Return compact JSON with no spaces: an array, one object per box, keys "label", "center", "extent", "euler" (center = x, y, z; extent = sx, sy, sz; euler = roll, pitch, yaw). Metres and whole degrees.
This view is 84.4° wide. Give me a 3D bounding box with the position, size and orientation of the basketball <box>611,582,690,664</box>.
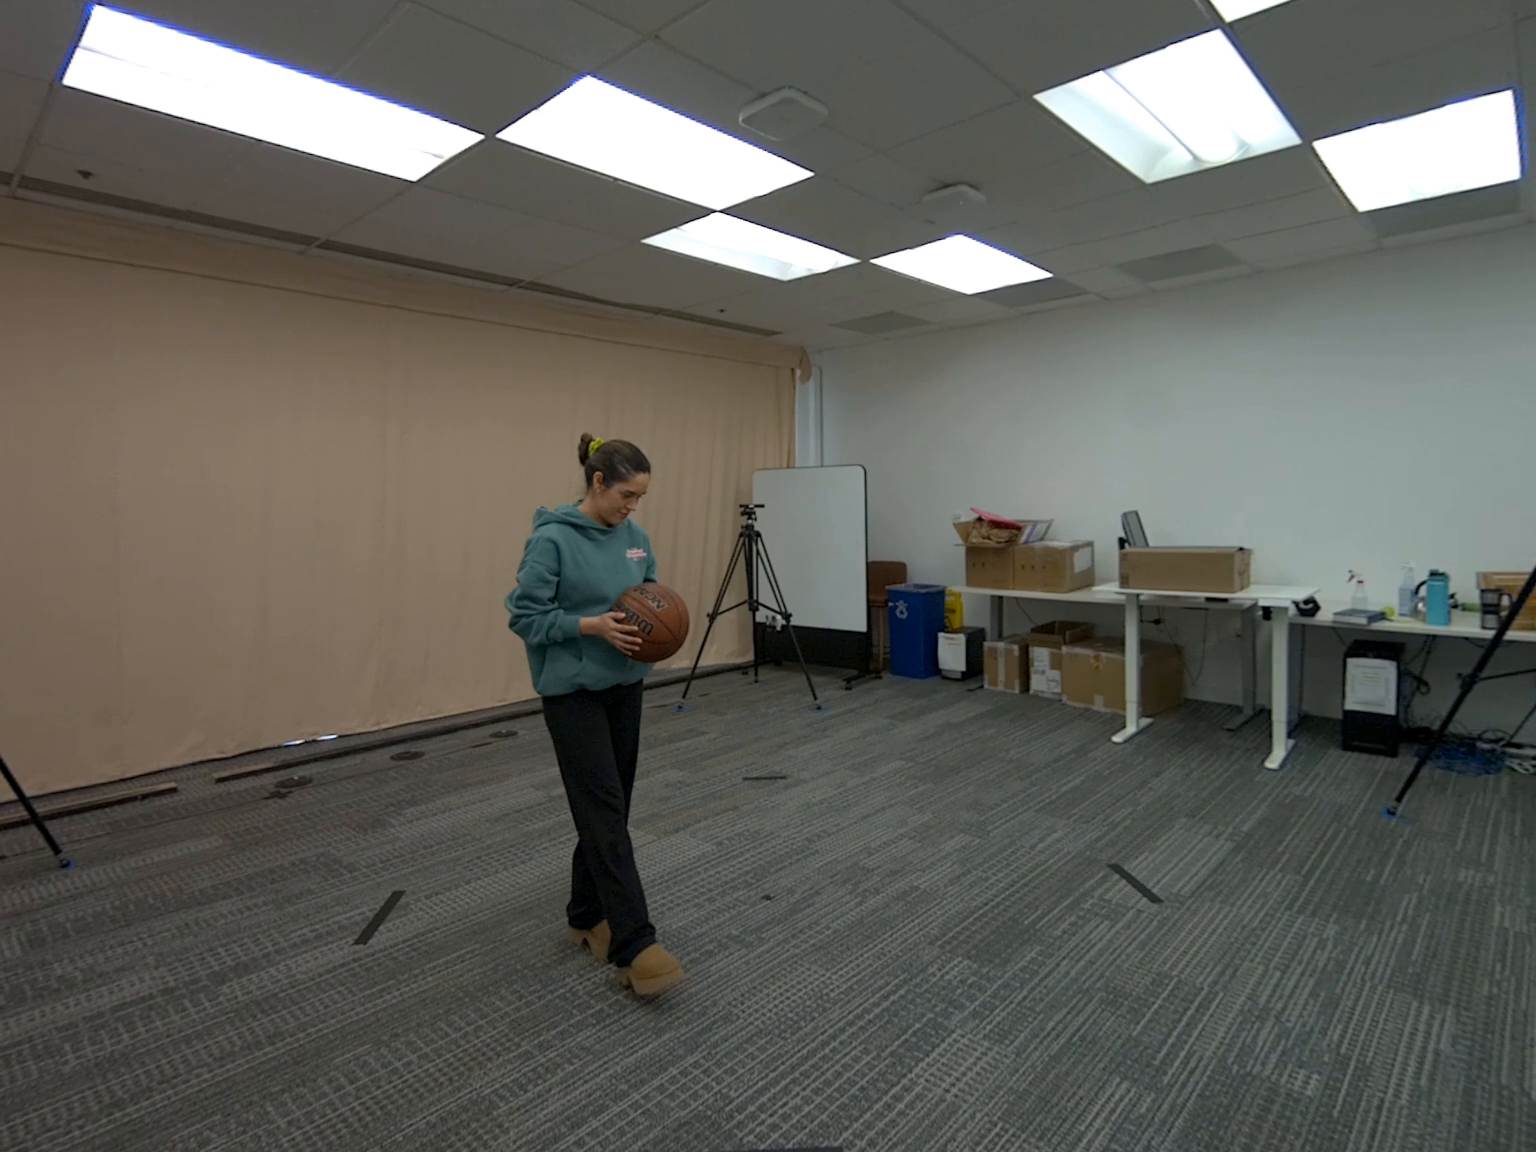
[{"label":"basketball","center":[-0.348,0.142,2.465],"extent":[0.236,0.235,0.237],"euler":[-1,4,-2]}]
